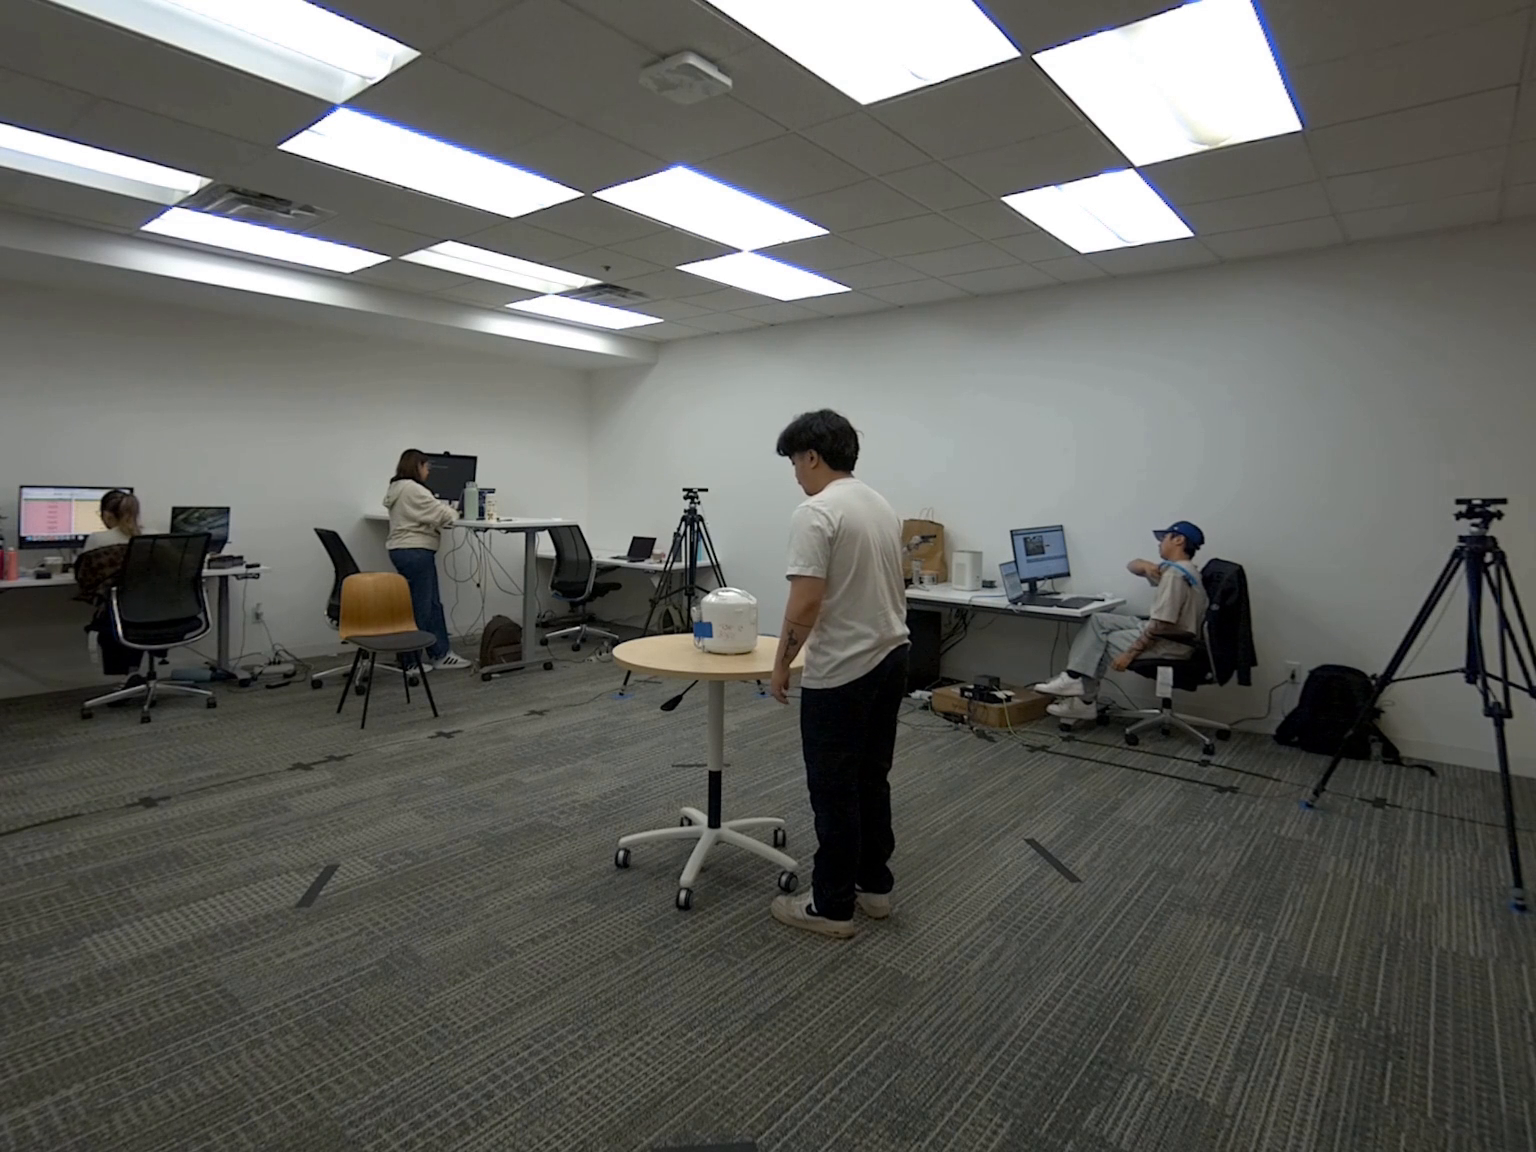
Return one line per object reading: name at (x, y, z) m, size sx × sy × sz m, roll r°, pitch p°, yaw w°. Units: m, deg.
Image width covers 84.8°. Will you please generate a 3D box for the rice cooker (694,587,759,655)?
rice cooker at (-0.151, 0.152, 3.125) m, size 0.227 × 0.232 × 0.212 m, roll 3°, pitch 5°, yaw 31°
